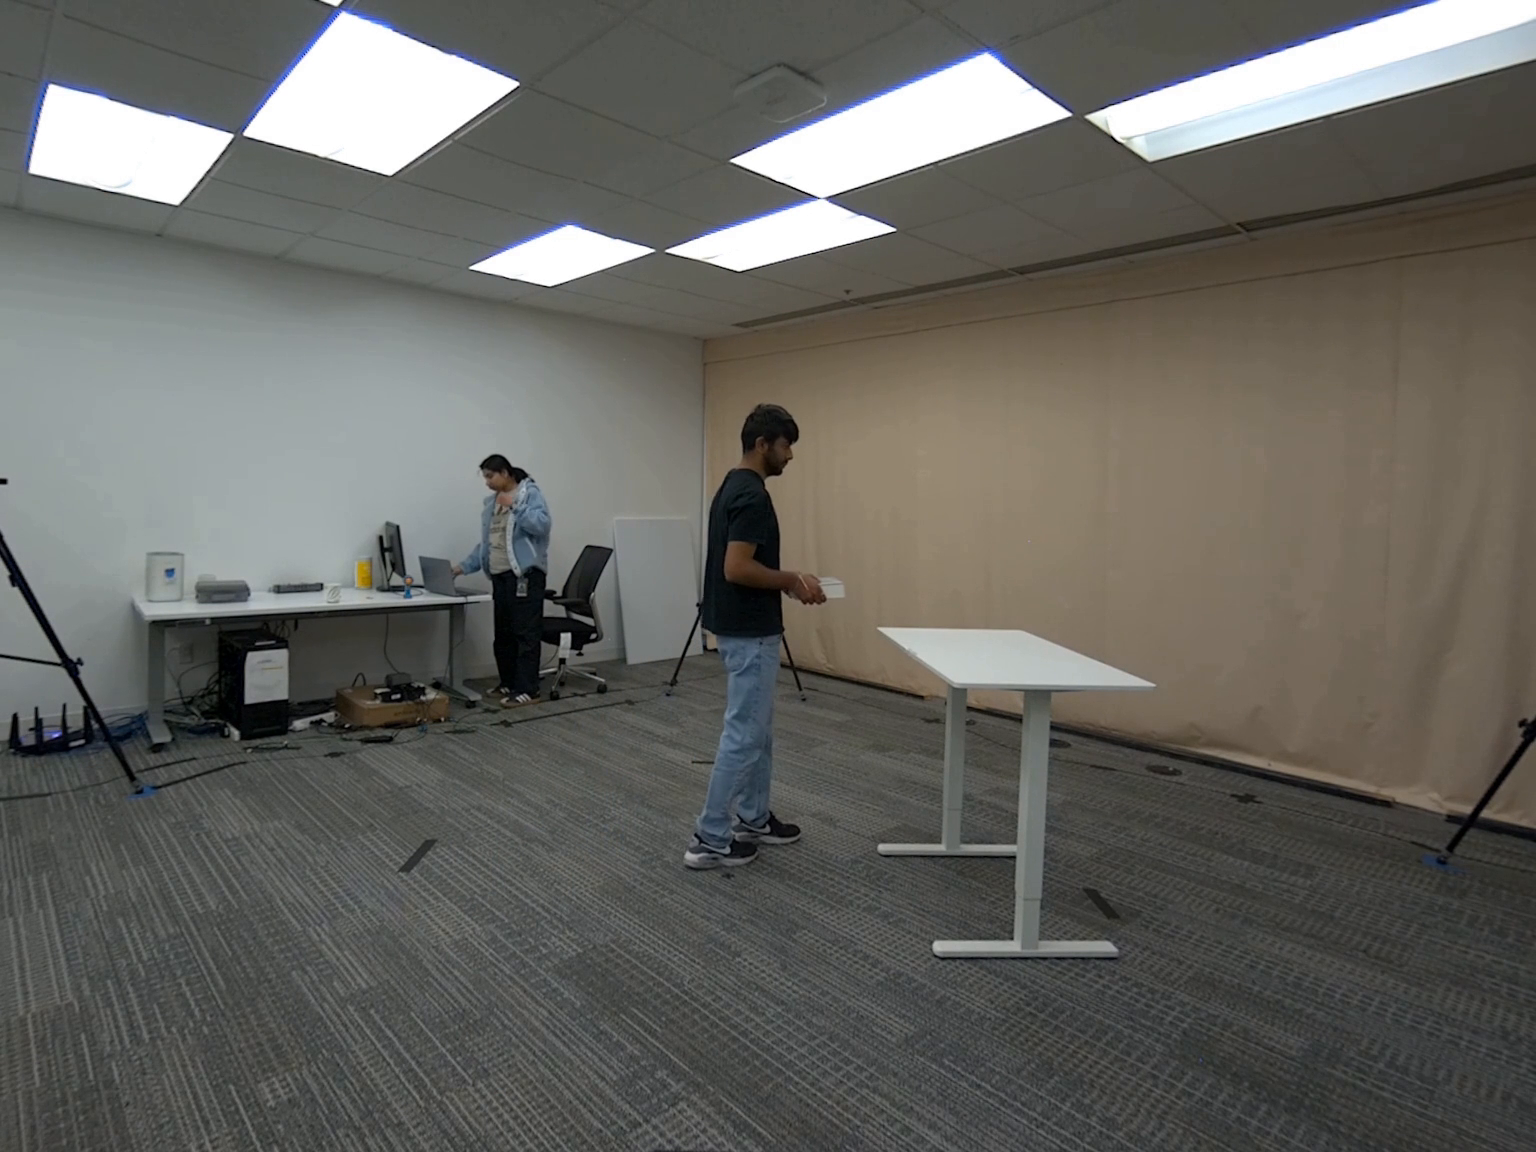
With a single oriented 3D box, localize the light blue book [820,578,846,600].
[{"bbox_3d":[0.166,0.043,3.290,0.192,0.059,0.261,-3,4,1],"label":"light blue book"}]
